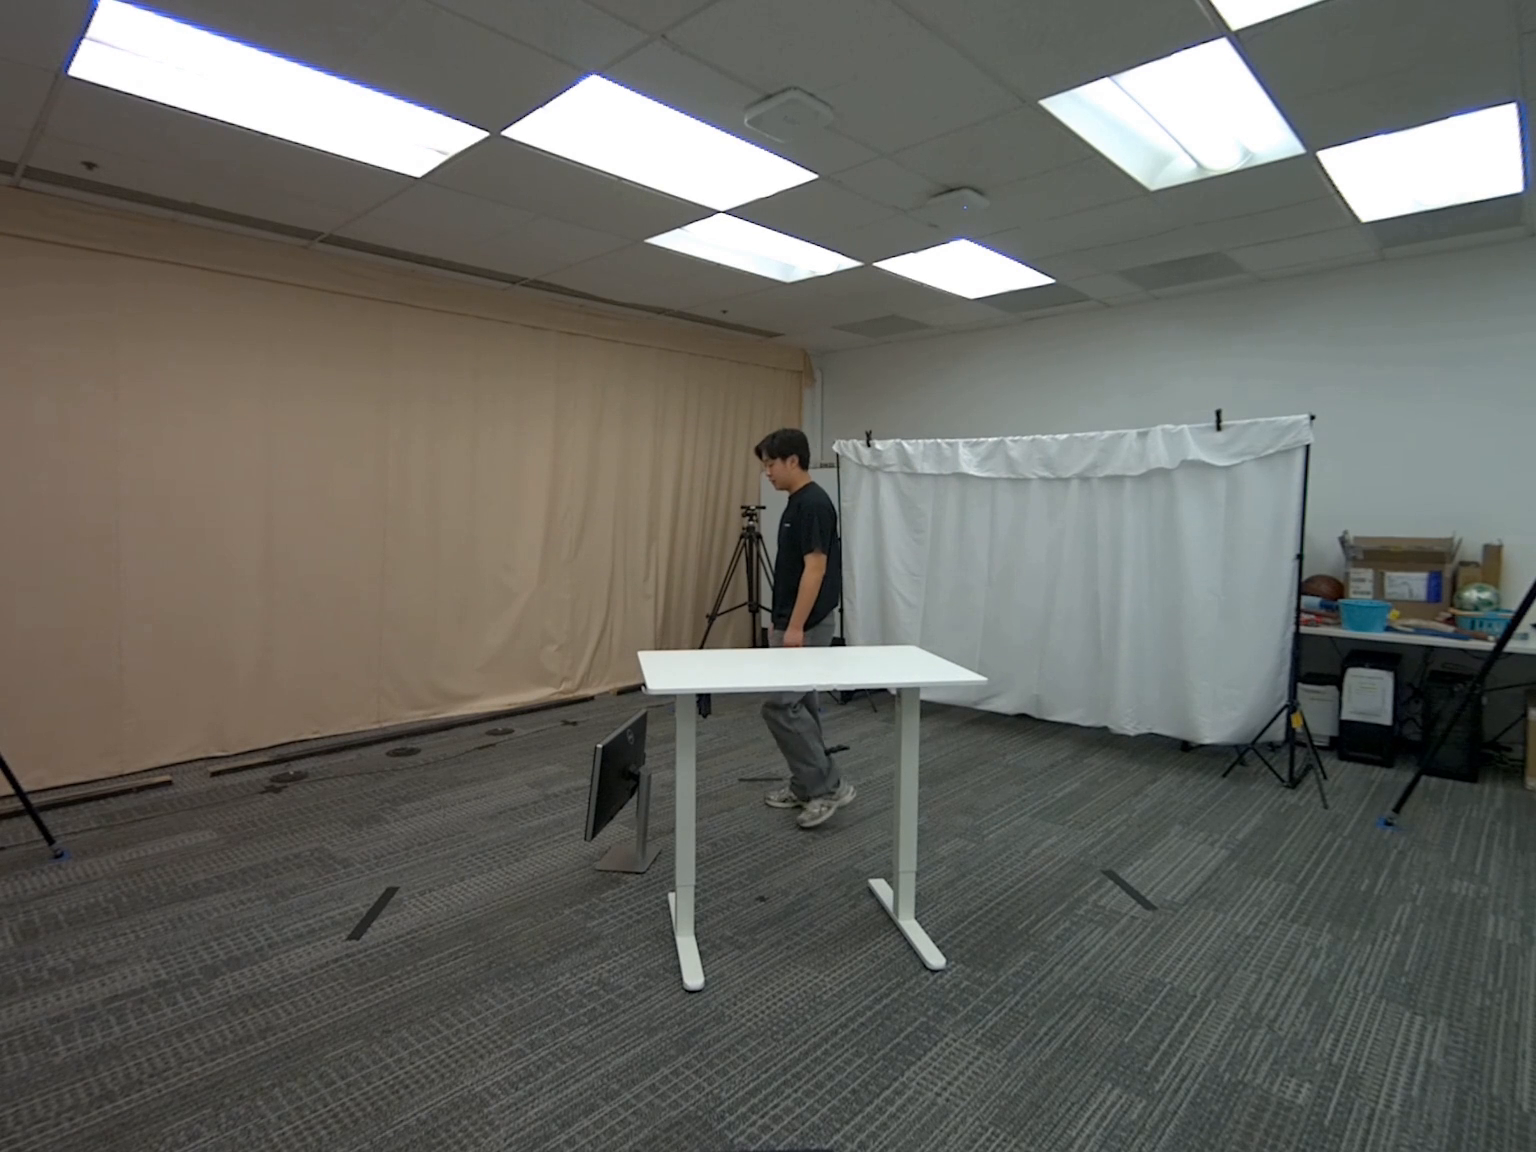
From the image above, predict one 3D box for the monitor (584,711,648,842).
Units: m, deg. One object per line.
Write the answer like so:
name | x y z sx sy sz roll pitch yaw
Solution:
monitor | -0.560 0.863 3.308 0.225 0.565 0.555 -4 3 12
